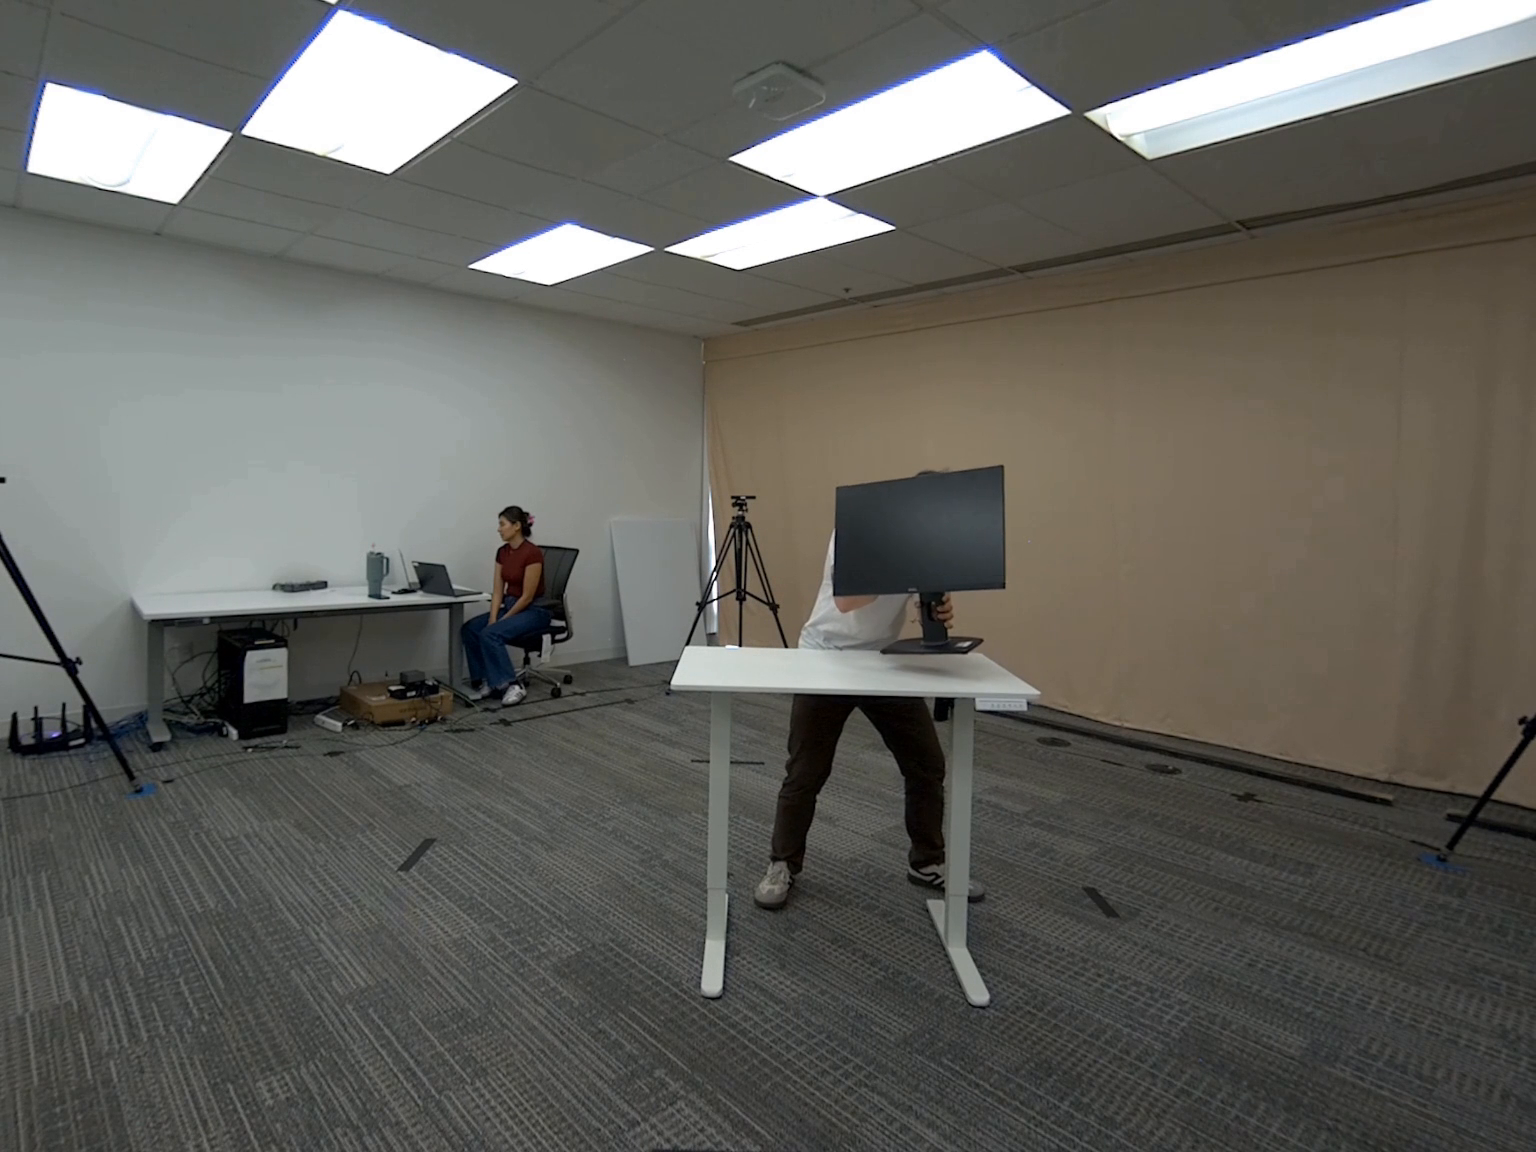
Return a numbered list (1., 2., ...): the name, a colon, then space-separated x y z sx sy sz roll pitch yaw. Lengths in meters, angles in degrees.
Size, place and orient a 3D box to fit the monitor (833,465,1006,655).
1. monitor: 0.460 -0.033 2.509 0.550 0.522 0.183 -5 0 33
